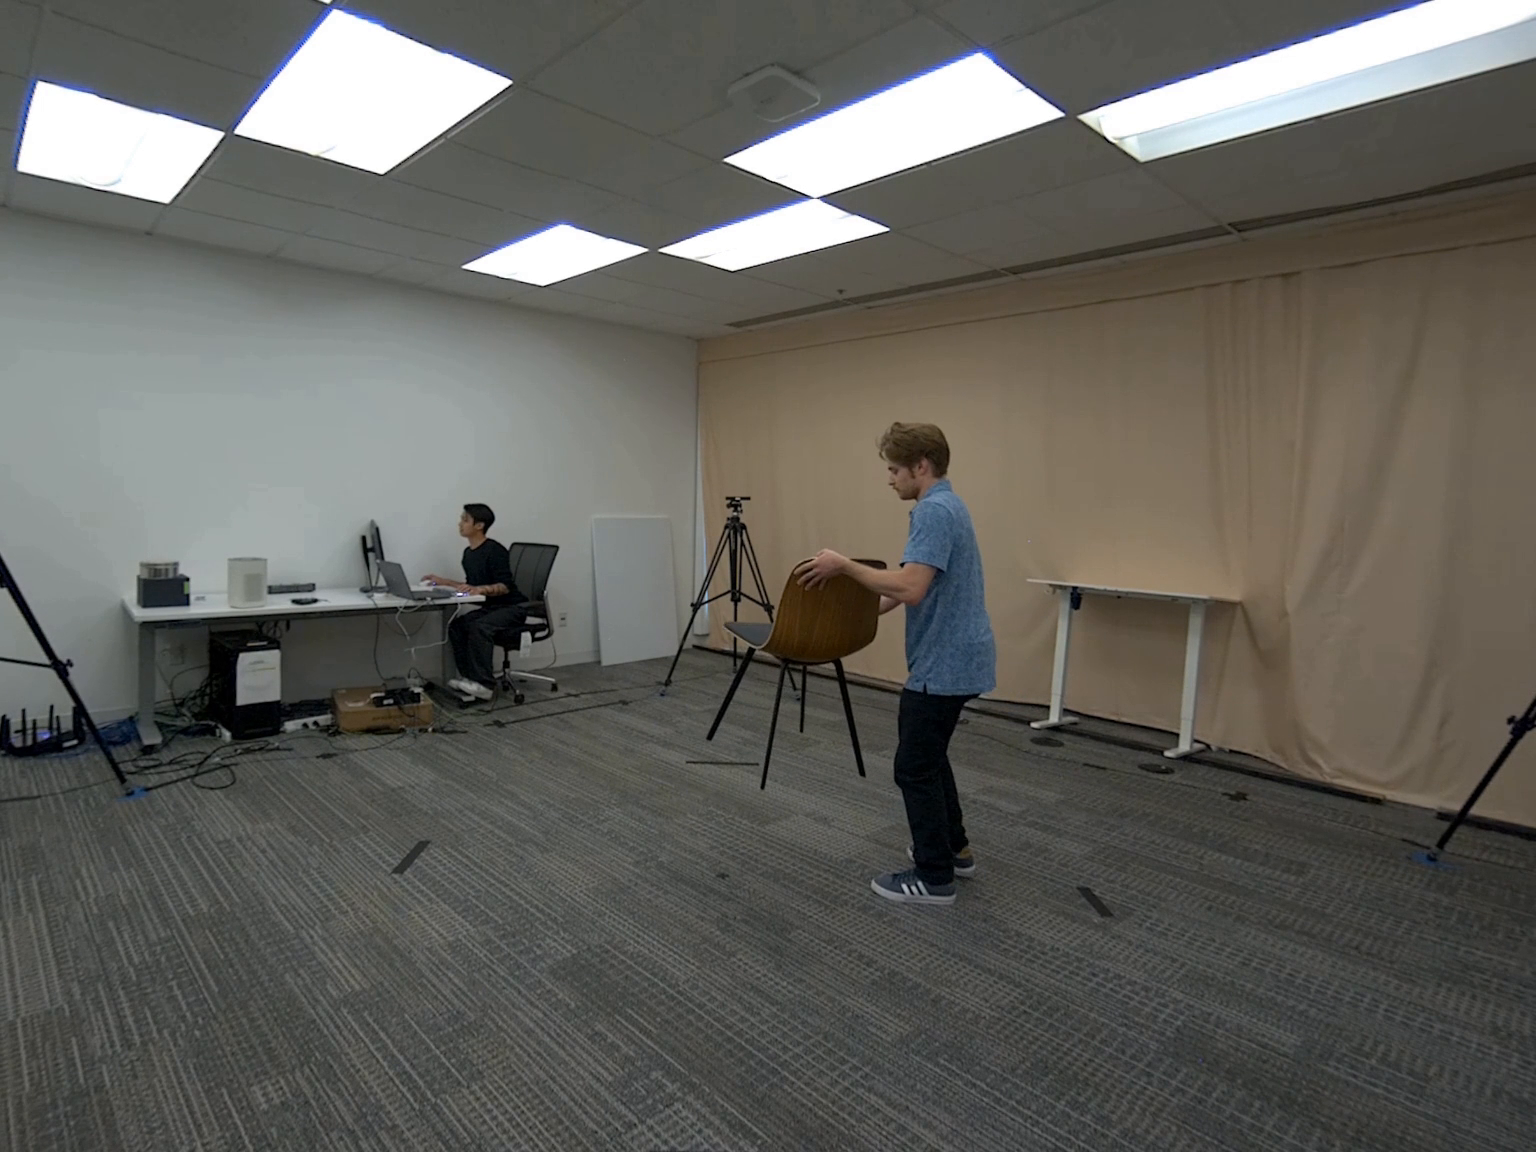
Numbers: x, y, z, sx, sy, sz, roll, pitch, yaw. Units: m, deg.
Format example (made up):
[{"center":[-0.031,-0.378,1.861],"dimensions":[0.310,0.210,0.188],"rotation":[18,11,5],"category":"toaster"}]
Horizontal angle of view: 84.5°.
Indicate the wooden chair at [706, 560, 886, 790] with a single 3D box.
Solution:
[{"center":[0.106,0.290,3.180],"dimensions":[0.468,0.870,0.538],"rotation":[1,14,-30],"category":"wooden chair"}]
